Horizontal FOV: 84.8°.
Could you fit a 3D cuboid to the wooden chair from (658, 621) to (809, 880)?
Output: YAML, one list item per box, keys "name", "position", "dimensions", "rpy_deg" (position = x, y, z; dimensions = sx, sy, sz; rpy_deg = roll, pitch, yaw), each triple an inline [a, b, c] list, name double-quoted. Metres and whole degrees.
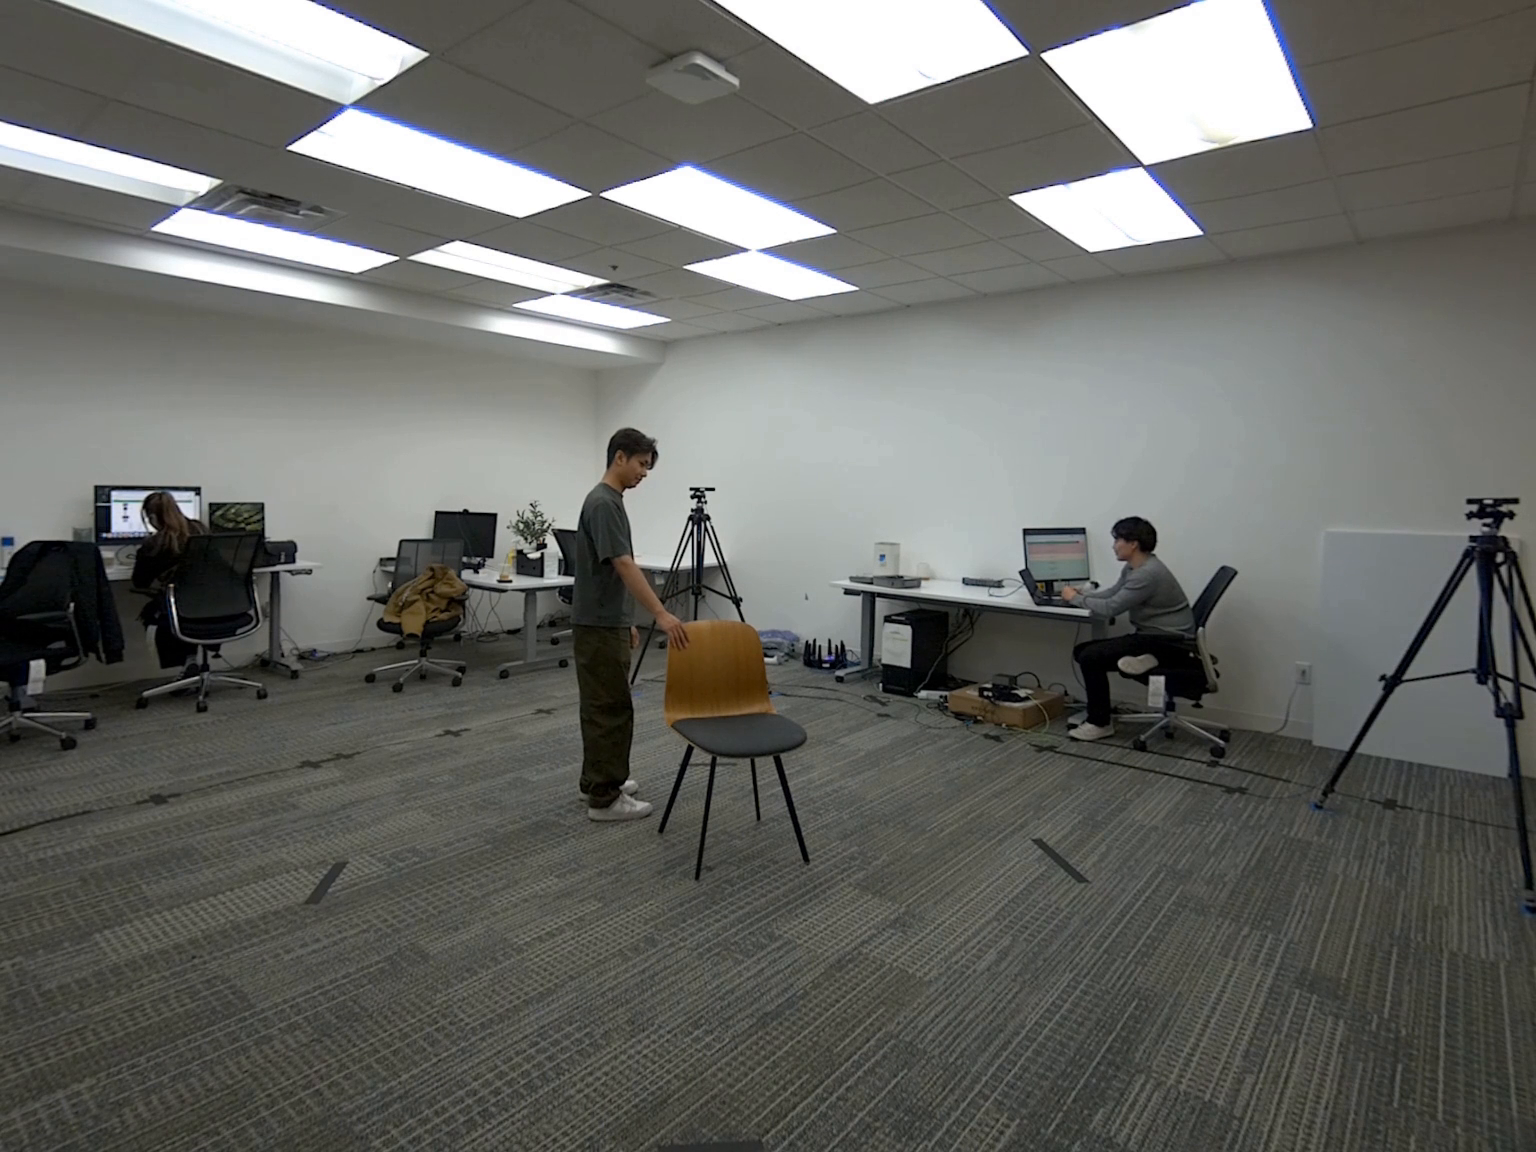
- name: "wooden chair"
  position: [-0.142, 0.624, 3.264]
  dimensions: [0.467, 0.878, 0.534]
  rpy_deg: [0, -1, -23]
